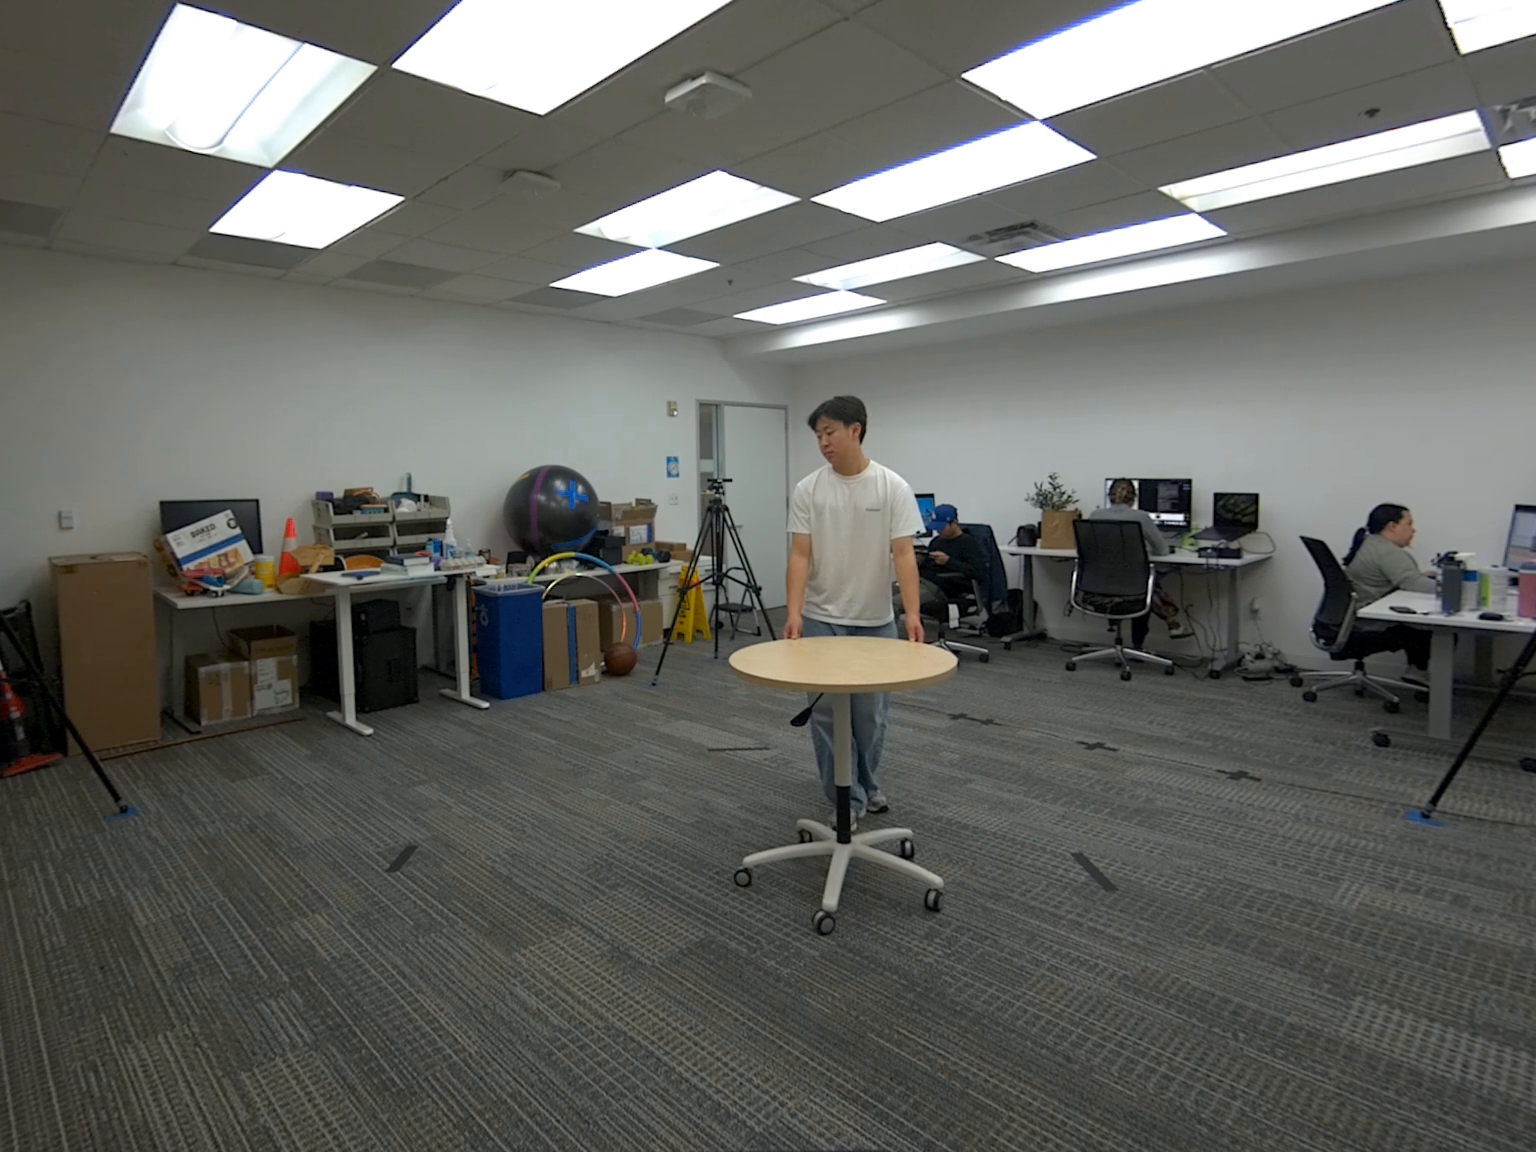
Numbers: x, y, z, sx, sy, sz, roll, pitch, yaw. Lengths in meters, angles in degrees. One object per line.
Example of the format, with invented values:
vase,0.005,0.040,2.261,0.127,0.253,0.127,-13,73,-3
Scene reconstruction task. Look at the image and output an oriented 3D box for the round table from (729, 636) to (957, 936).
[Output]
round table,0.254,0.673,2.937,0.763,0.791,0.768,-1,5,-2
